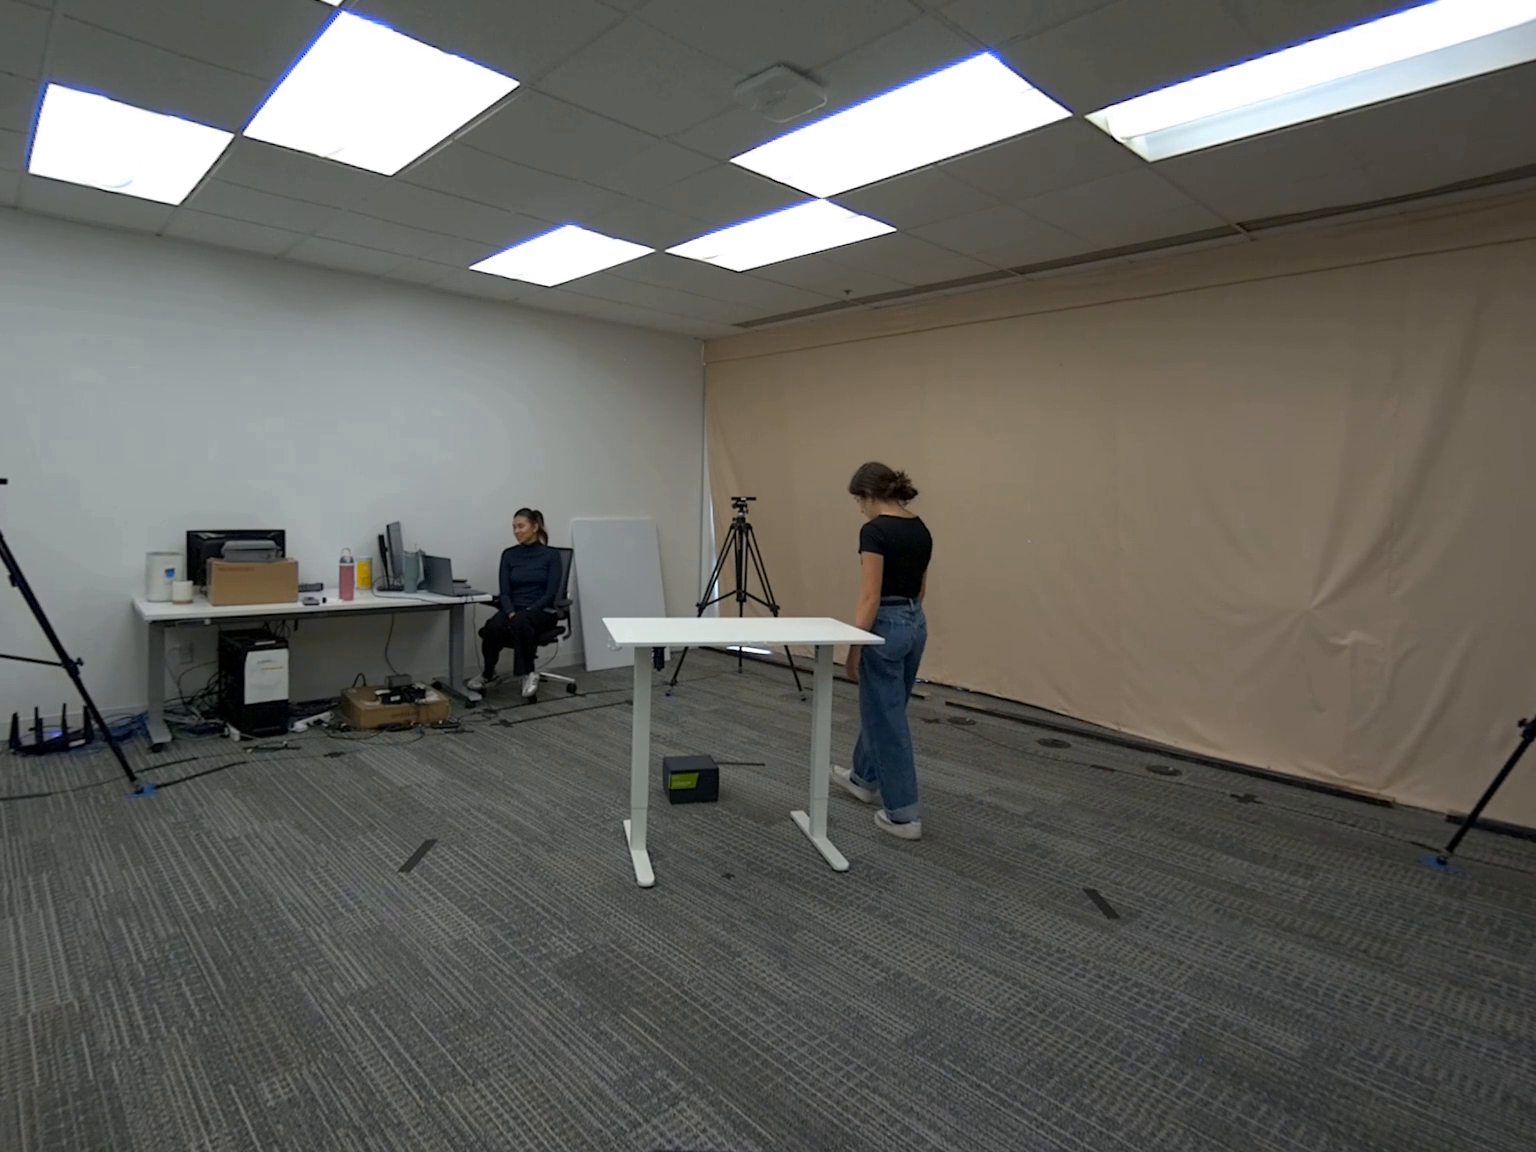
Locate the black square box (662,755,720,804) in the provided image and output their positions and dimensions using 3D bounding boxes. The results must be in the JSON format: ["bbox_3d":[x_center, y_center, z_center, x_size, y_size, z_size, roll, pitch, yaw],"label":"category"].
[{"bbox_3d":[-0.372,0.945,3.947,0.225,0.155,0.220,1,4,-15],"label":"black square box"}]
